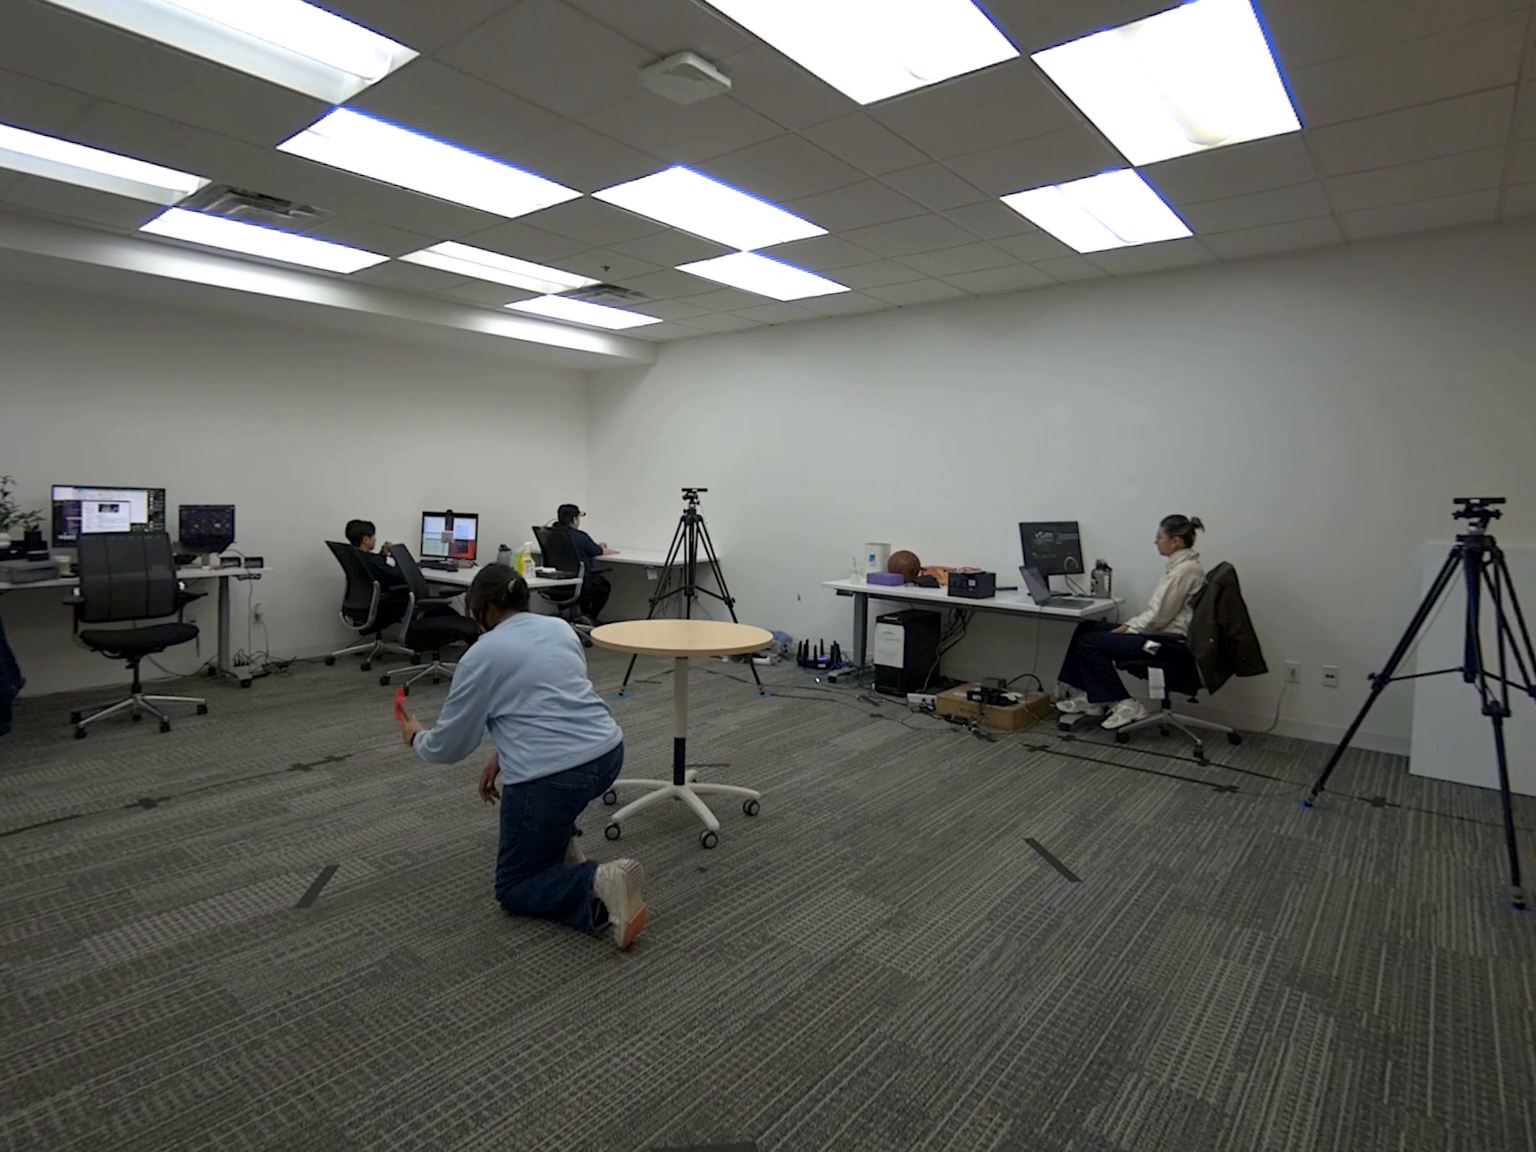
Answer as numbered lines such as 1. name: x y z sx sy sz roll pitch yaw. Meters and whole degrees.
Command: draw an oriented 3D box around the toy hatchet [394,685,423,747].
1. toy hatchet: -1.316 0.570 3.097 0.029 0.129 0.282 -4 34 -36
